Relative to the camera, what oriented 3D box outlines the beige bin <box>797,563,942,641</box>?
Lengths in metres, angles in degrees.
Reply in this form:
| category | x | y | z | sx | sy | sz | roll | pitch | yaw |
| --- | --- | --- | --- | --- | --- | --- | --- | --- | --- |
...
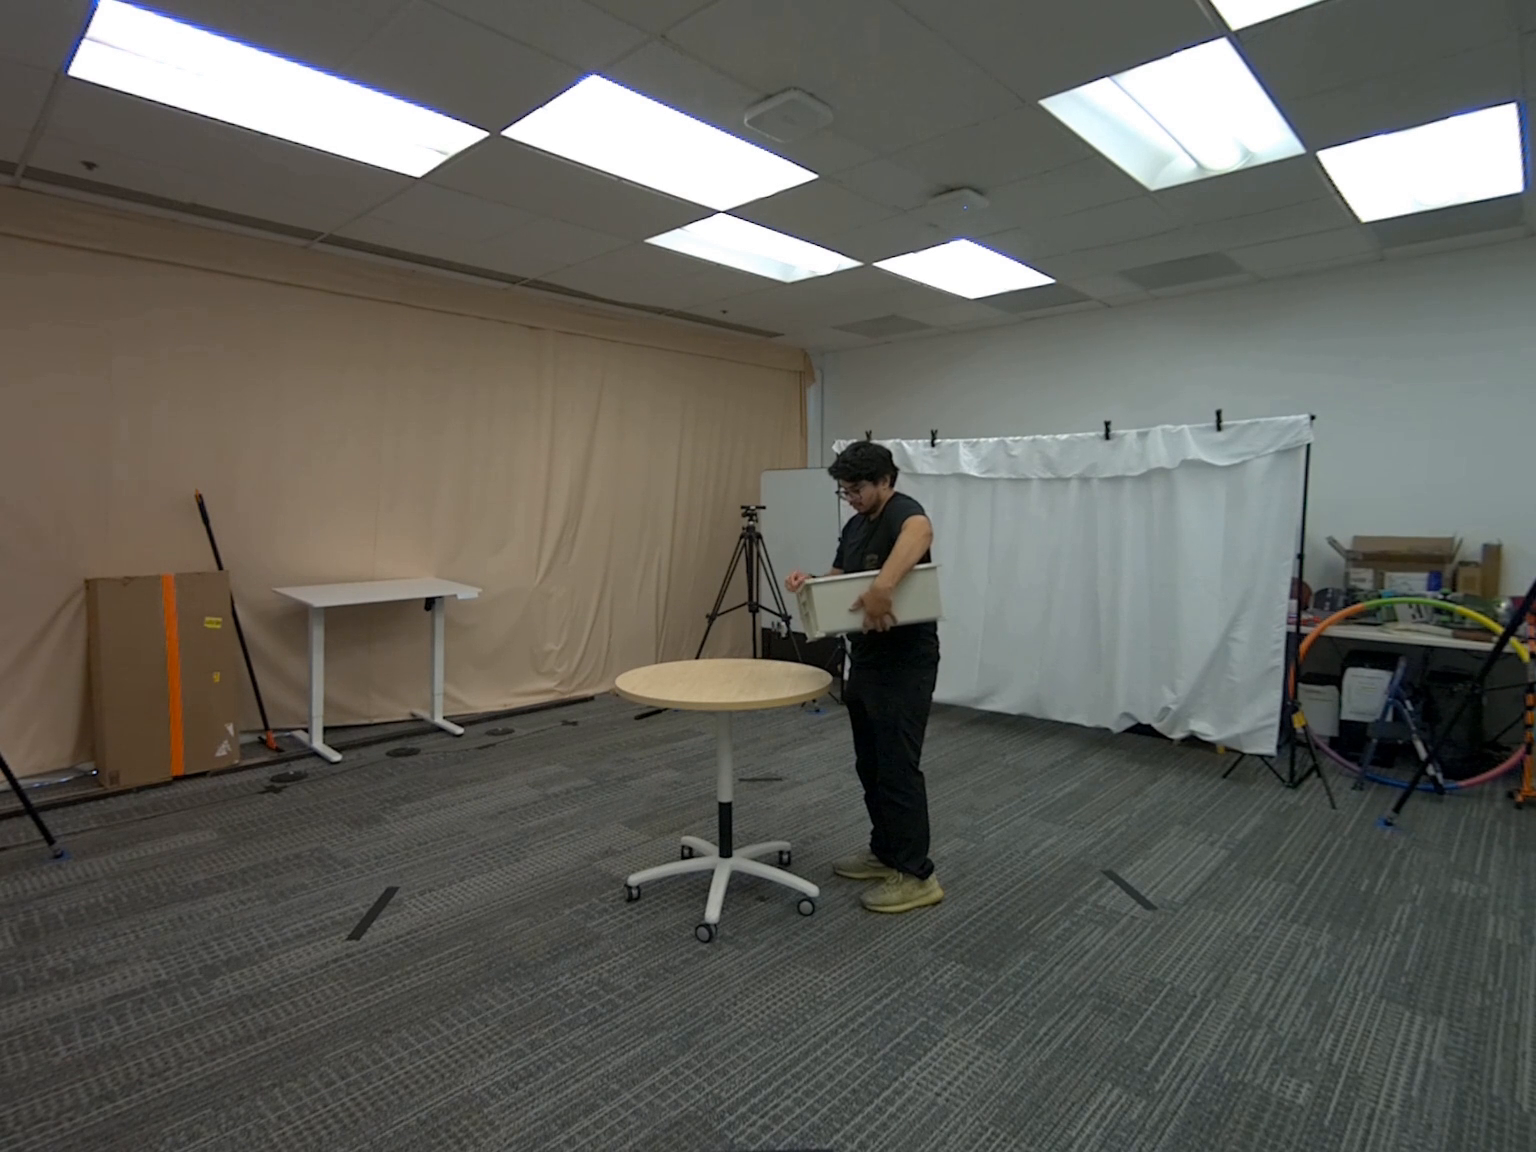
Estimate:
| category | x | y | z | sx | sy | sz | roll | pitch | yaw |
| --- | --- | --- | --- | --- | --- | --- | --- | --- | --- |
| beige bin | 0.331 | 0.093 | 2.750 | 0.422 | 0.190 | 0.376 | -8 | -4 | -1 |
